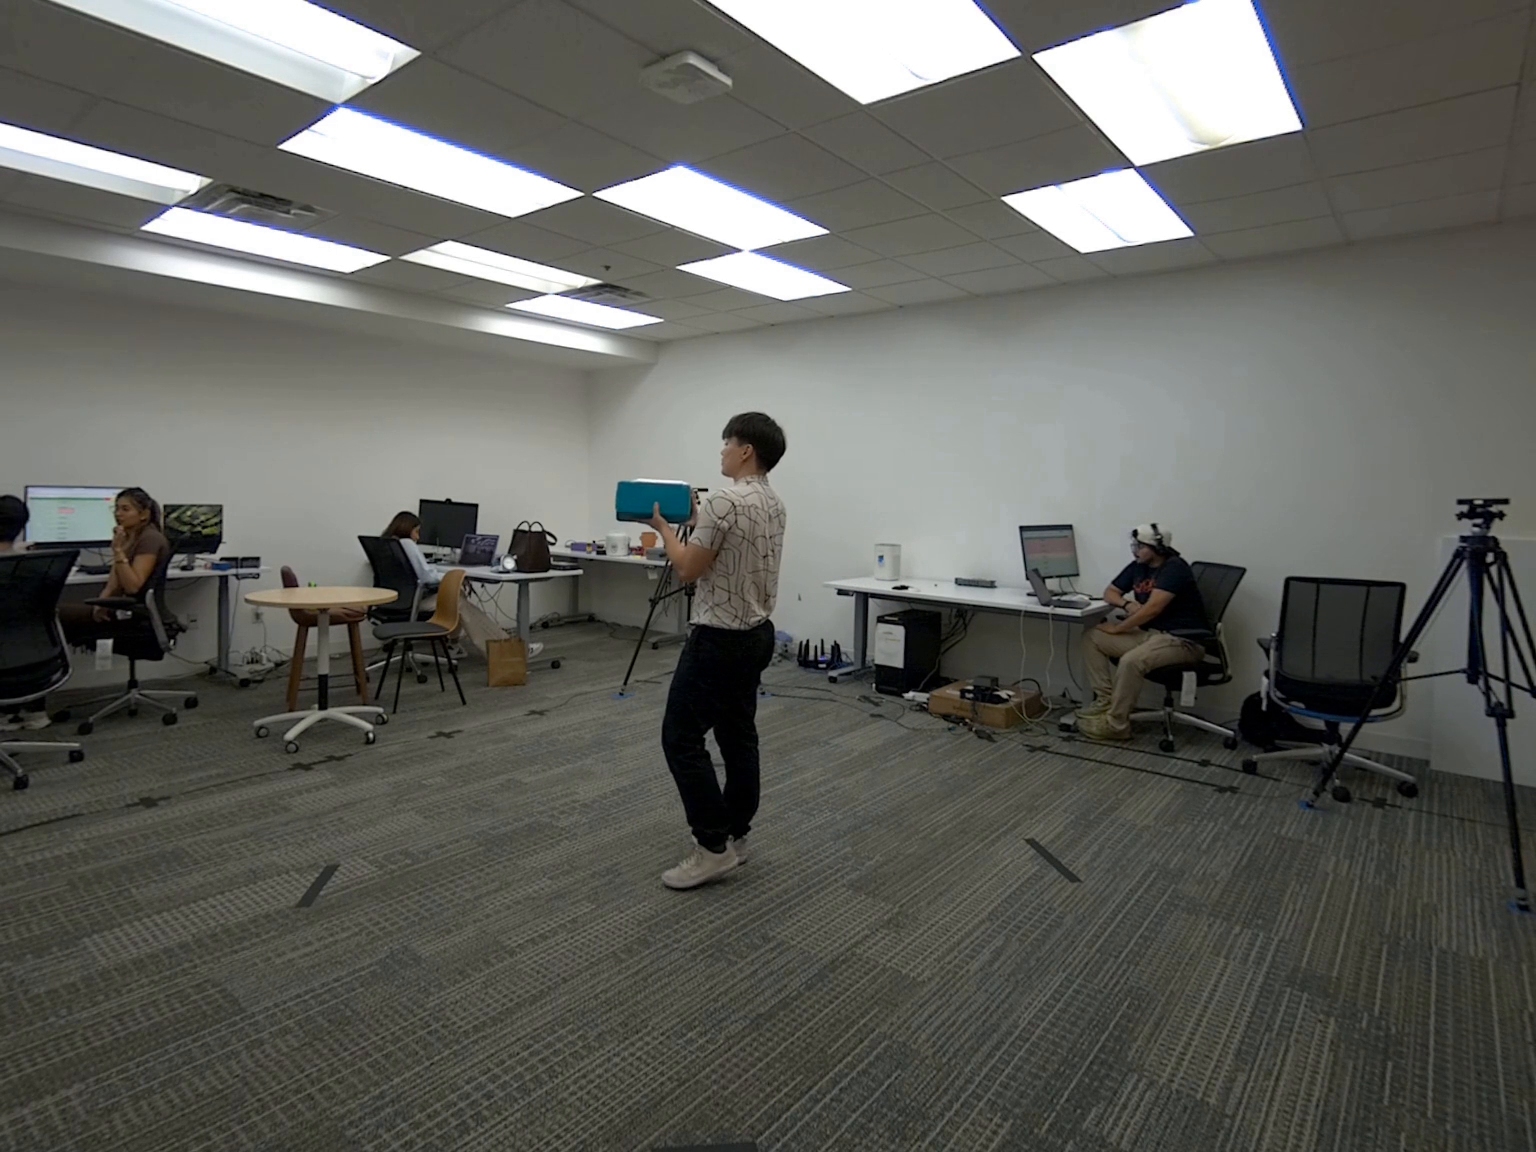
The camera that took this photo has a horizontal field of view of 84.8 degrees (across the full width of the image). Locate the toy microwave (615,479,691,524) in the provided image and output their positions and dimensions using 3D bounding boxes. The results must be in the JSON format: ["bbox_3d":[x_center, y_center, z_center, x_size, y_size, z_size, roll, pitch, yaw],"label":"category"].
[{"bbox_3d":[-0.454,-0.300,3.298,0.284,0.153,0.184,1,-5,-6],"label":"toy microwave"}]
